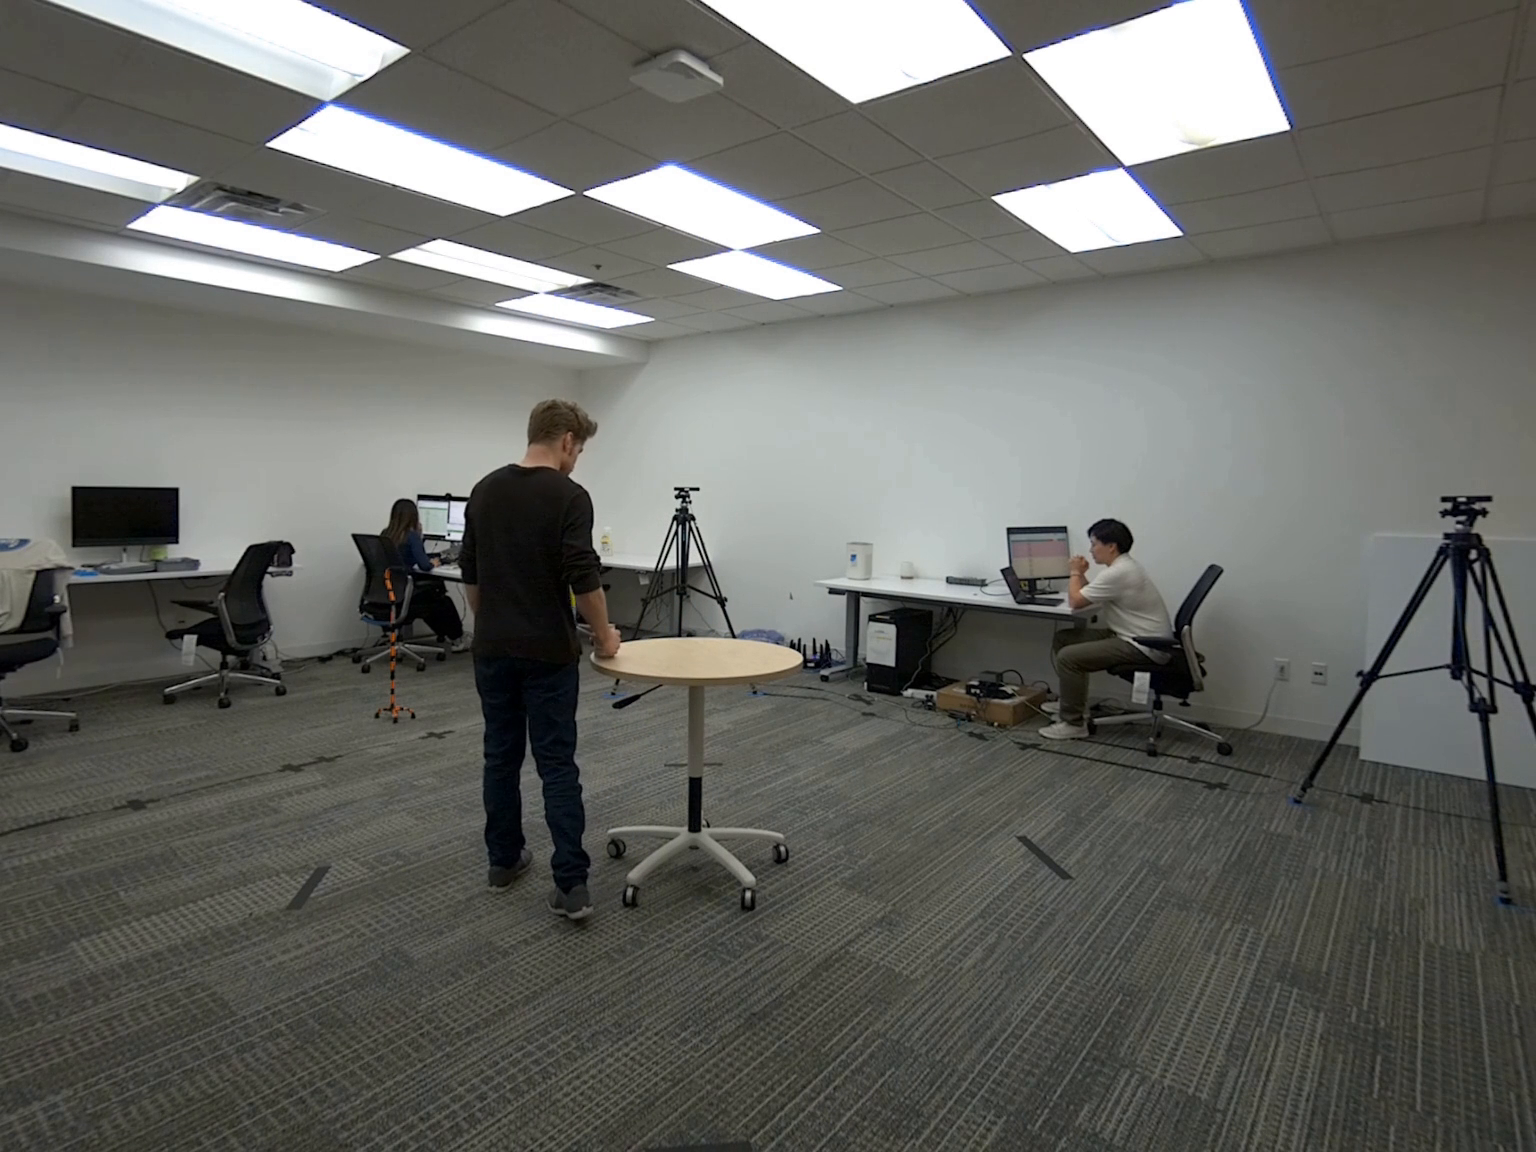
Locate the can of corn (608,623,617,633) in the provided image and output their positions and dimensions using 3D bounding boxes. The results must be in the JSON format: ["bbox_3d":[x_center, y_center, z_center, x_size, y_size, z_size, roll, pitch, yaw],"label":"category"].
[{"bbox_3d":[-0.587,0.234,3.013,0.074,0.111,0.074,1,3,-2],"label":"can of corn"}]
